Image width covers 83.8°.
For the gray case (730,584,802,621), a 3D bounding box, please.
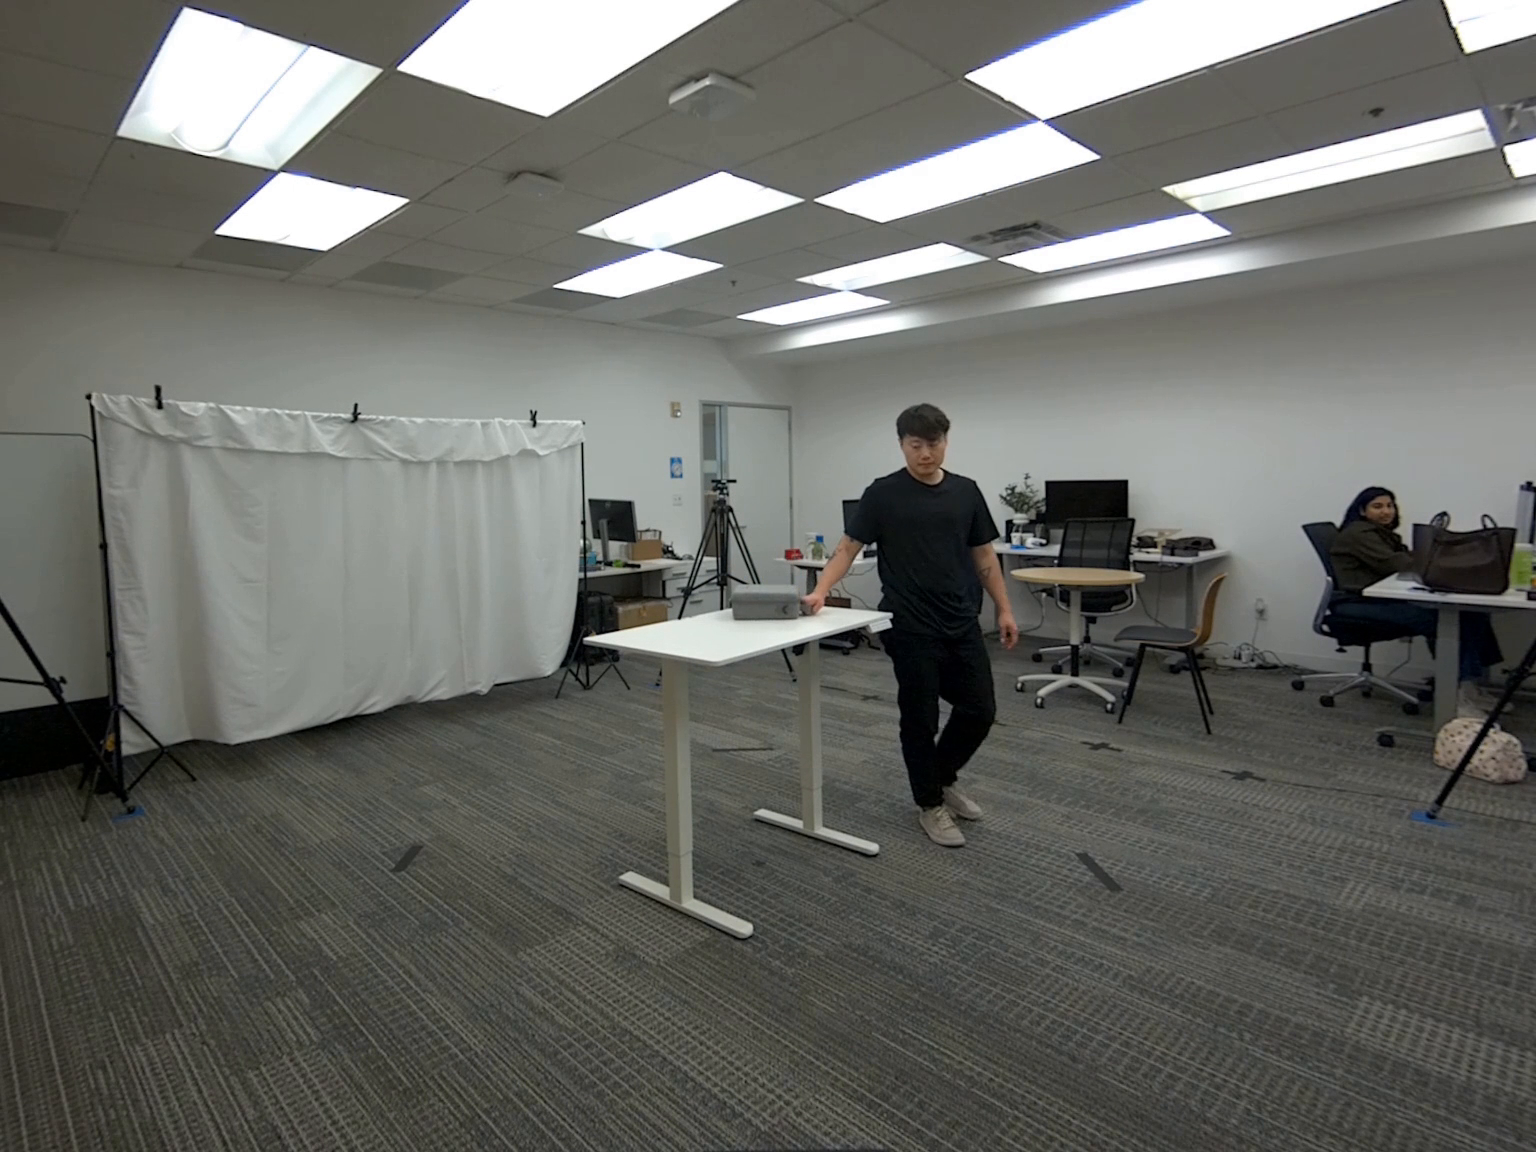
[{"bbox_3d":[-0.001,0.092,3.234,0.262,0.104,0.257,1,6,4],"label":"gray case"}]
